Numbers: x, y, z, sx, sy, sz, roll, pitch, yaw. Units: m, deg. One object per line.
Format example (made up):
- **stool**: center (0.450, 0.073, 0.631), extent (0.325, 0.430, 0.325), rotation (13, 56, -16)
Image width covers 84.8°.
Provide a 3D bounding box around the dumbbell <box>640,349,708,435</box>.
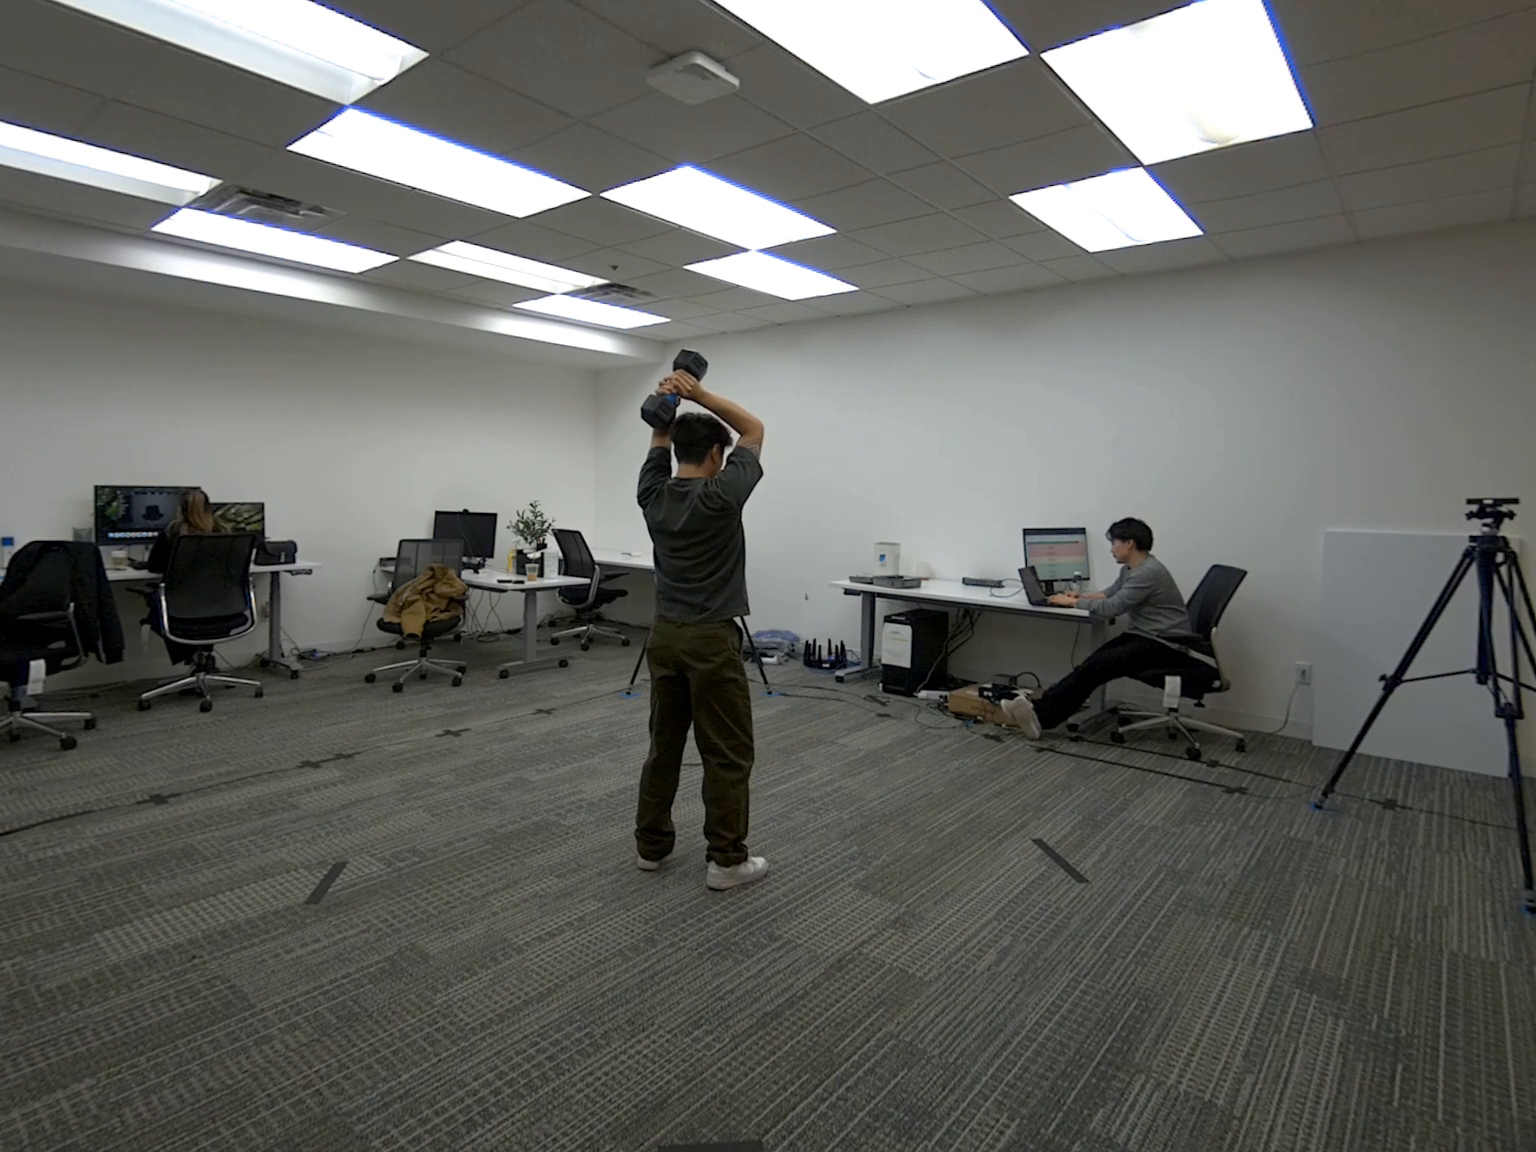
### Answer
- **dumbbell**: center (-0.337, -0.649, 2.944), extent (0.119, 0.295, 0.111), rotation (41, -21, -22)
